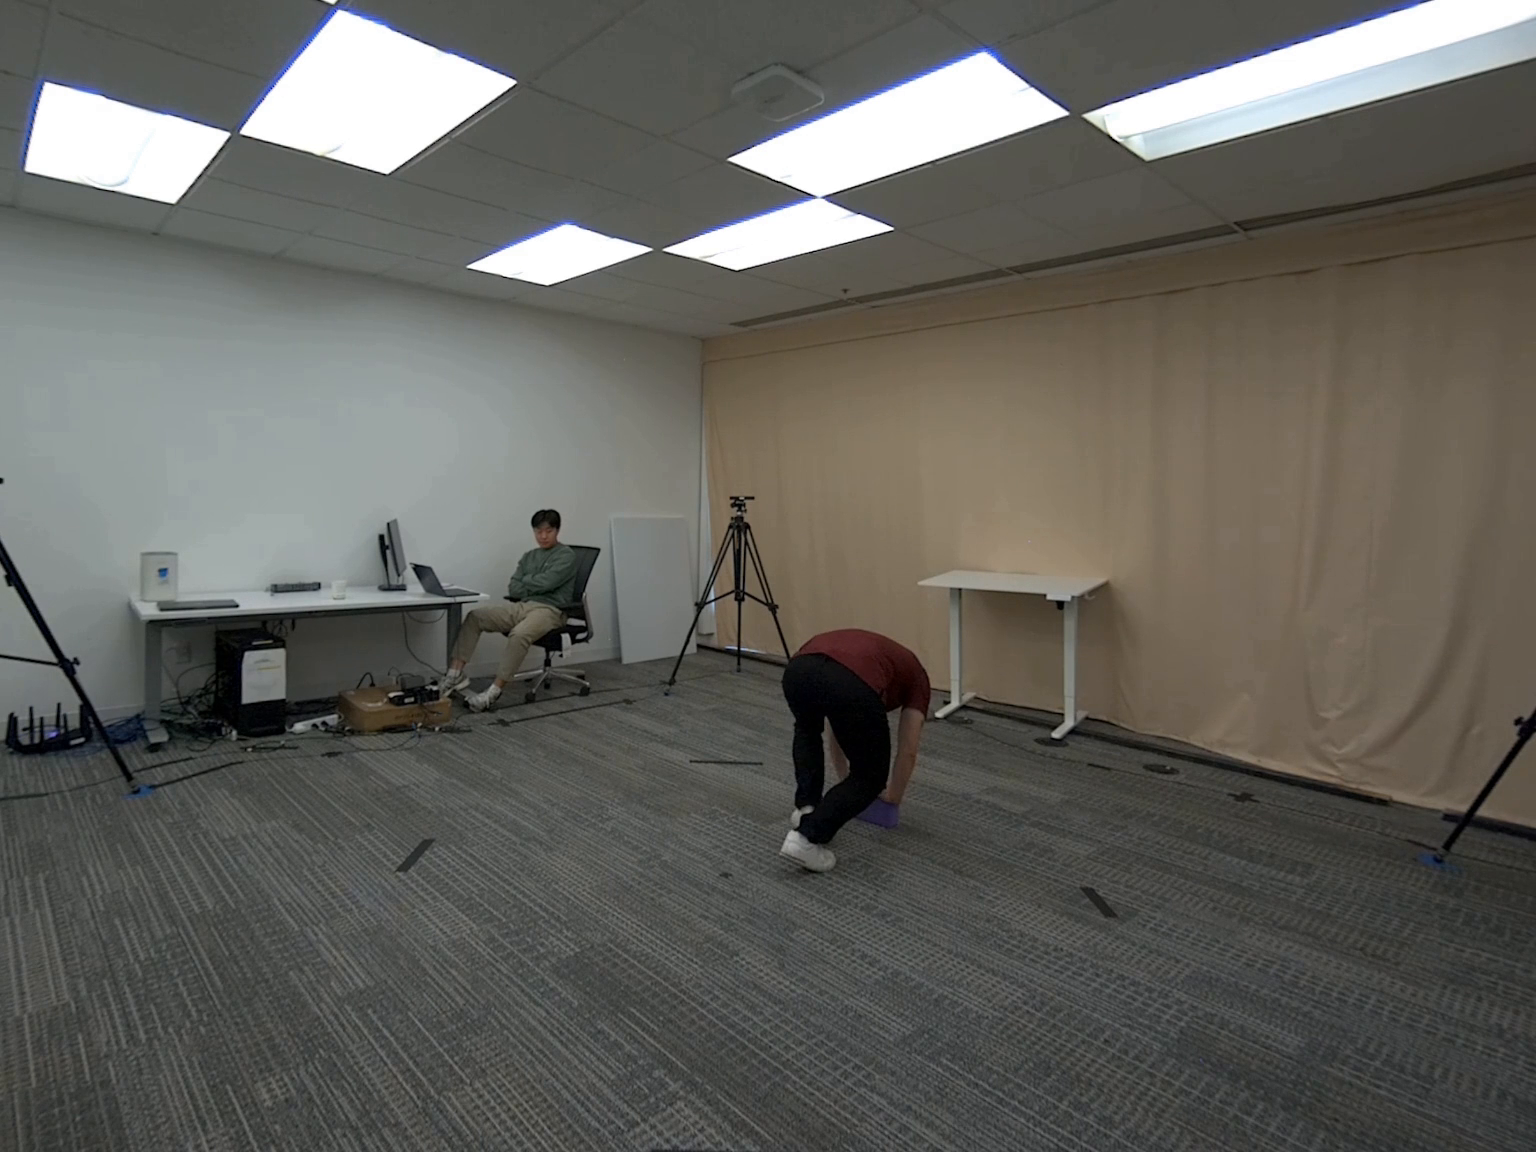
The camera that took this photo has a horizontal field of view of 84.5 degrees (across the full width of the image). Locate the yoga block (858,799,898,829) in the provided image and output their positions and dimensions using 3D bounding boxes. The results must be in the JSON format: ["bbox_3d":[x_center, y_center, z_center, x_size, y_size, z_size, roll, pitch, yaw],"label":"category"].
[{"bbox_3d":[0.444,0.999,3.691,0.235,0.149,0.074,4,-2,40],"label":"yoga block"}]
